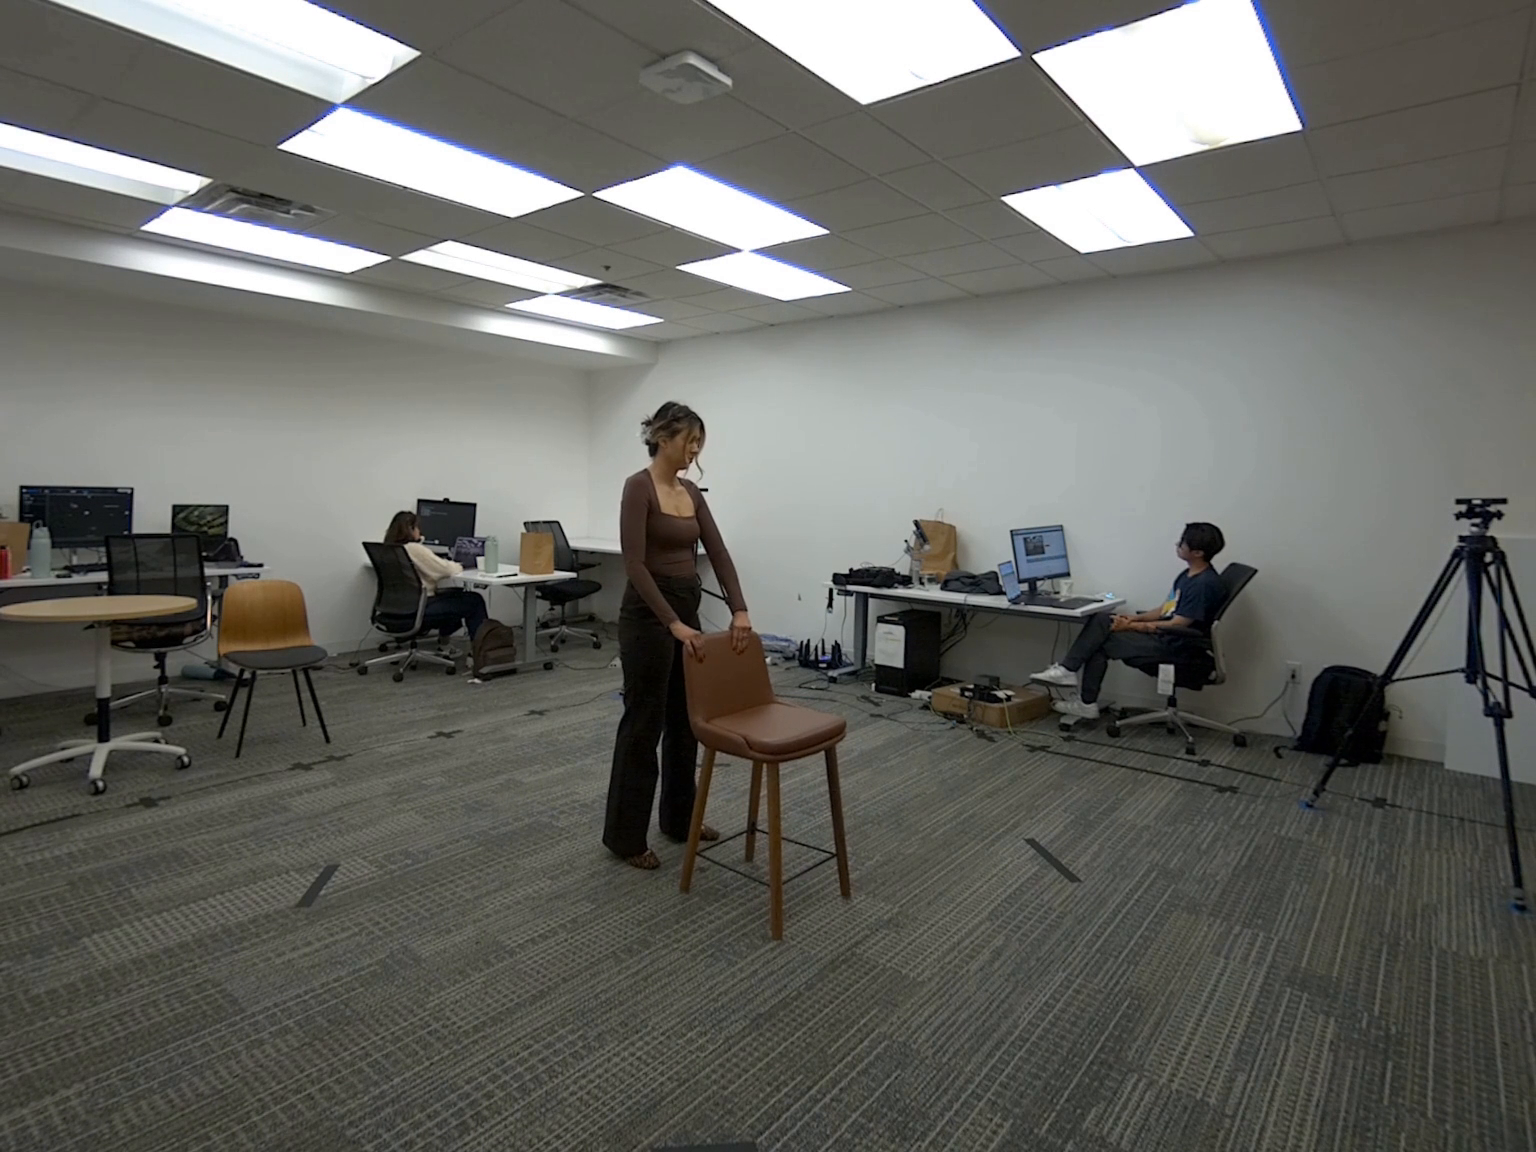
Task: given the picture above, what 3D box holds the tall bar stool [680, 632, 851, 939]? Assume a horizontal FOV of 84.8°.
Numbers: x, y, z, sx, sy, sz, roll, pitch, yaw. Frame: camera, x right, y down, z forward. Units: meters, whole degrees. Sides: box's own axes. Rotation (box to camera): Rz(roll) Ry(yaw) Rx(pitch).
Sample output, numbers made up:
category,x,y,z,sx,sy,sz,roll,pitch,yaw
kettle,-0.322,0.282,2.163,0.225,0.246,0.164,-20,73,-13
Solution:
category,x,y,z,sx,sy,sz,roll,pitch,yaw
tall bar stool,-0.019,0.656,2.906,0.483,0.888,0.443,1,2,41
